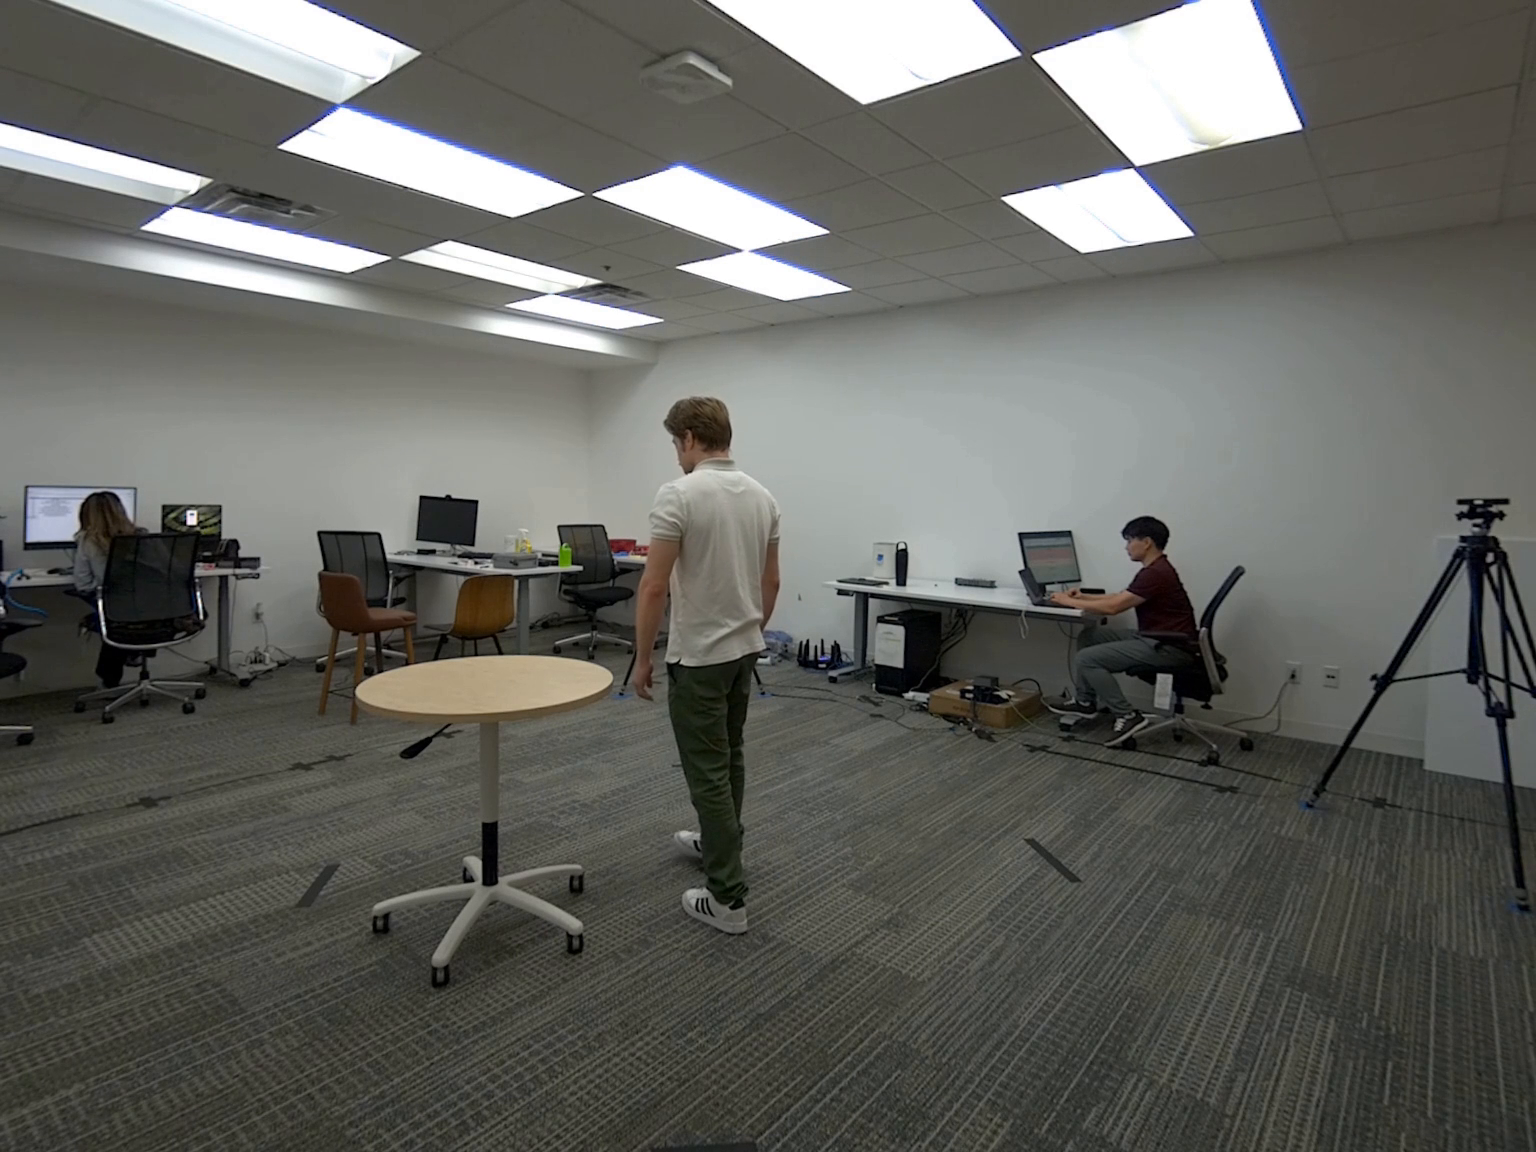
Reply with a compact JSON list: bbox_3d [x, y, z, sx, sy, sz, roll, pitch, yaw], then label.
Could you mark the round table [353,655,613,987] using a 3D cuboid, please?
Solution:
[{"bbox_3d":[-0.881,0.719,2.656,0.763,0.791,0.768,0,5,-2],"label":"round table"}]
